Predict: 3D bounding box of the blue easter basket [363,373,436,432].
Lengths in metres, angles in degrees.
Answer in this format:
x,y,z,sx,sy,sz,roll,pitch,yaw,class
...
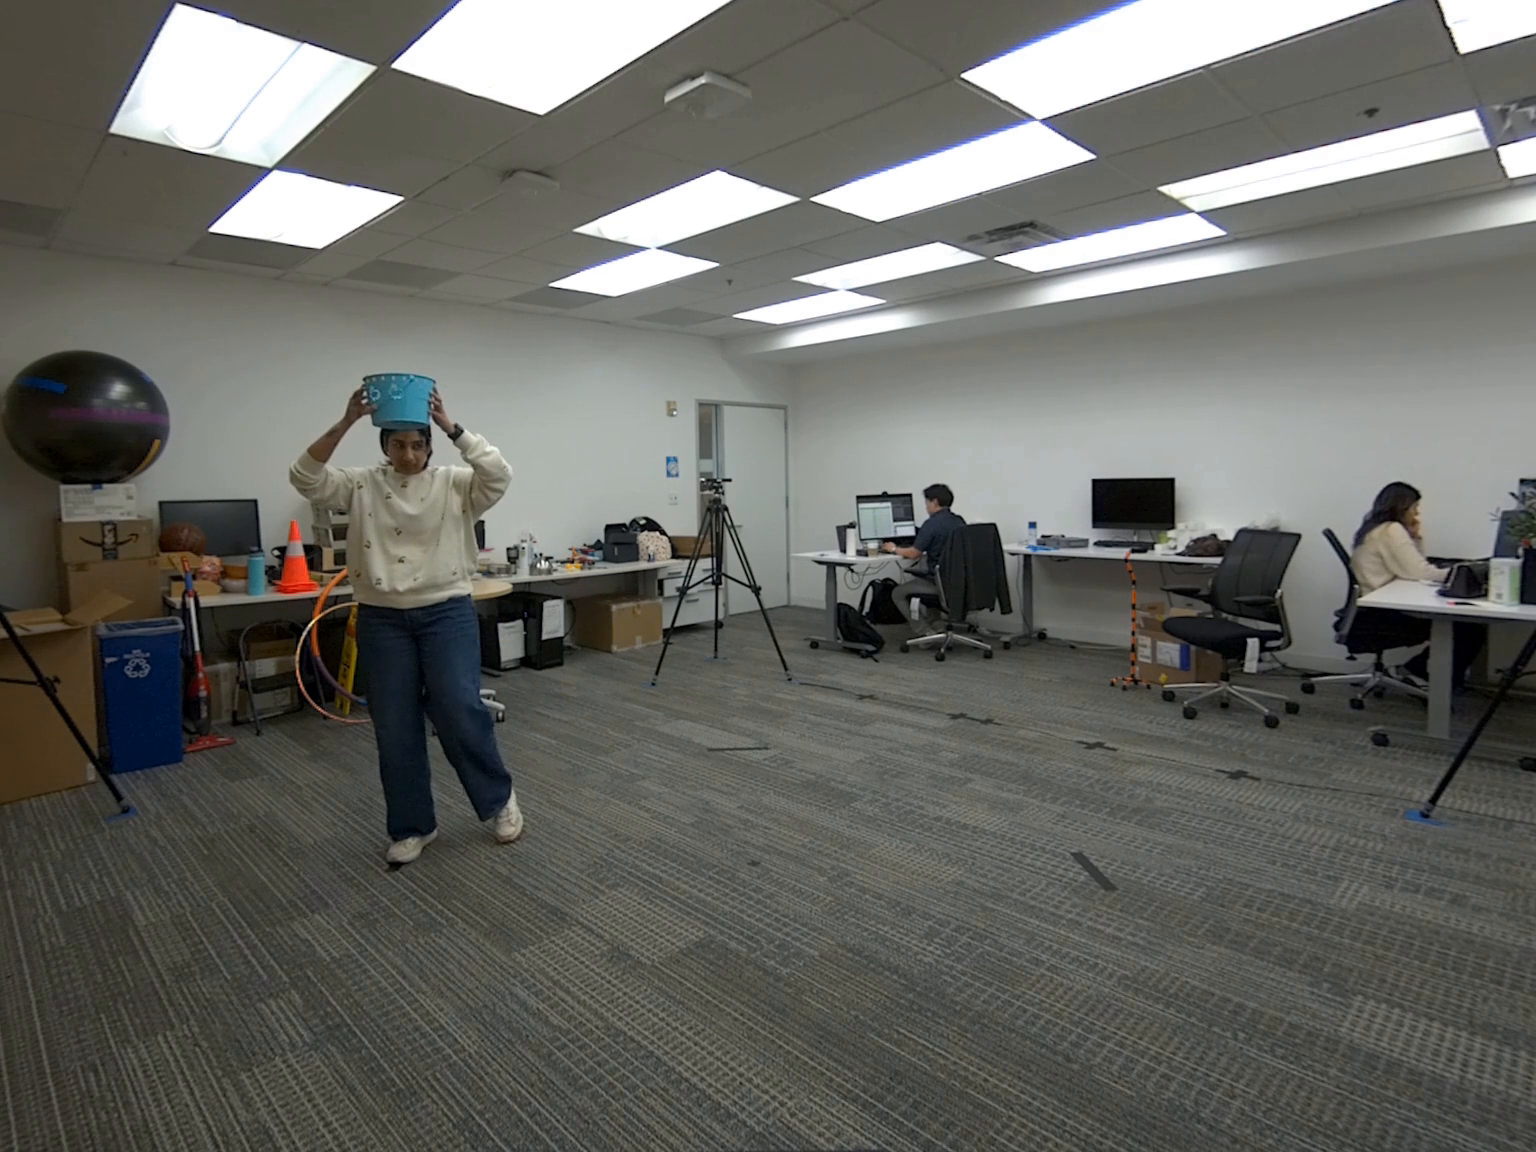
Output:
x,y,z,sx,sy,sz,roll,pitch,yaw,class
-1.252,-0.587,2.889,0.243,0.156,0.244,-2,1,-2,blue easter basket
